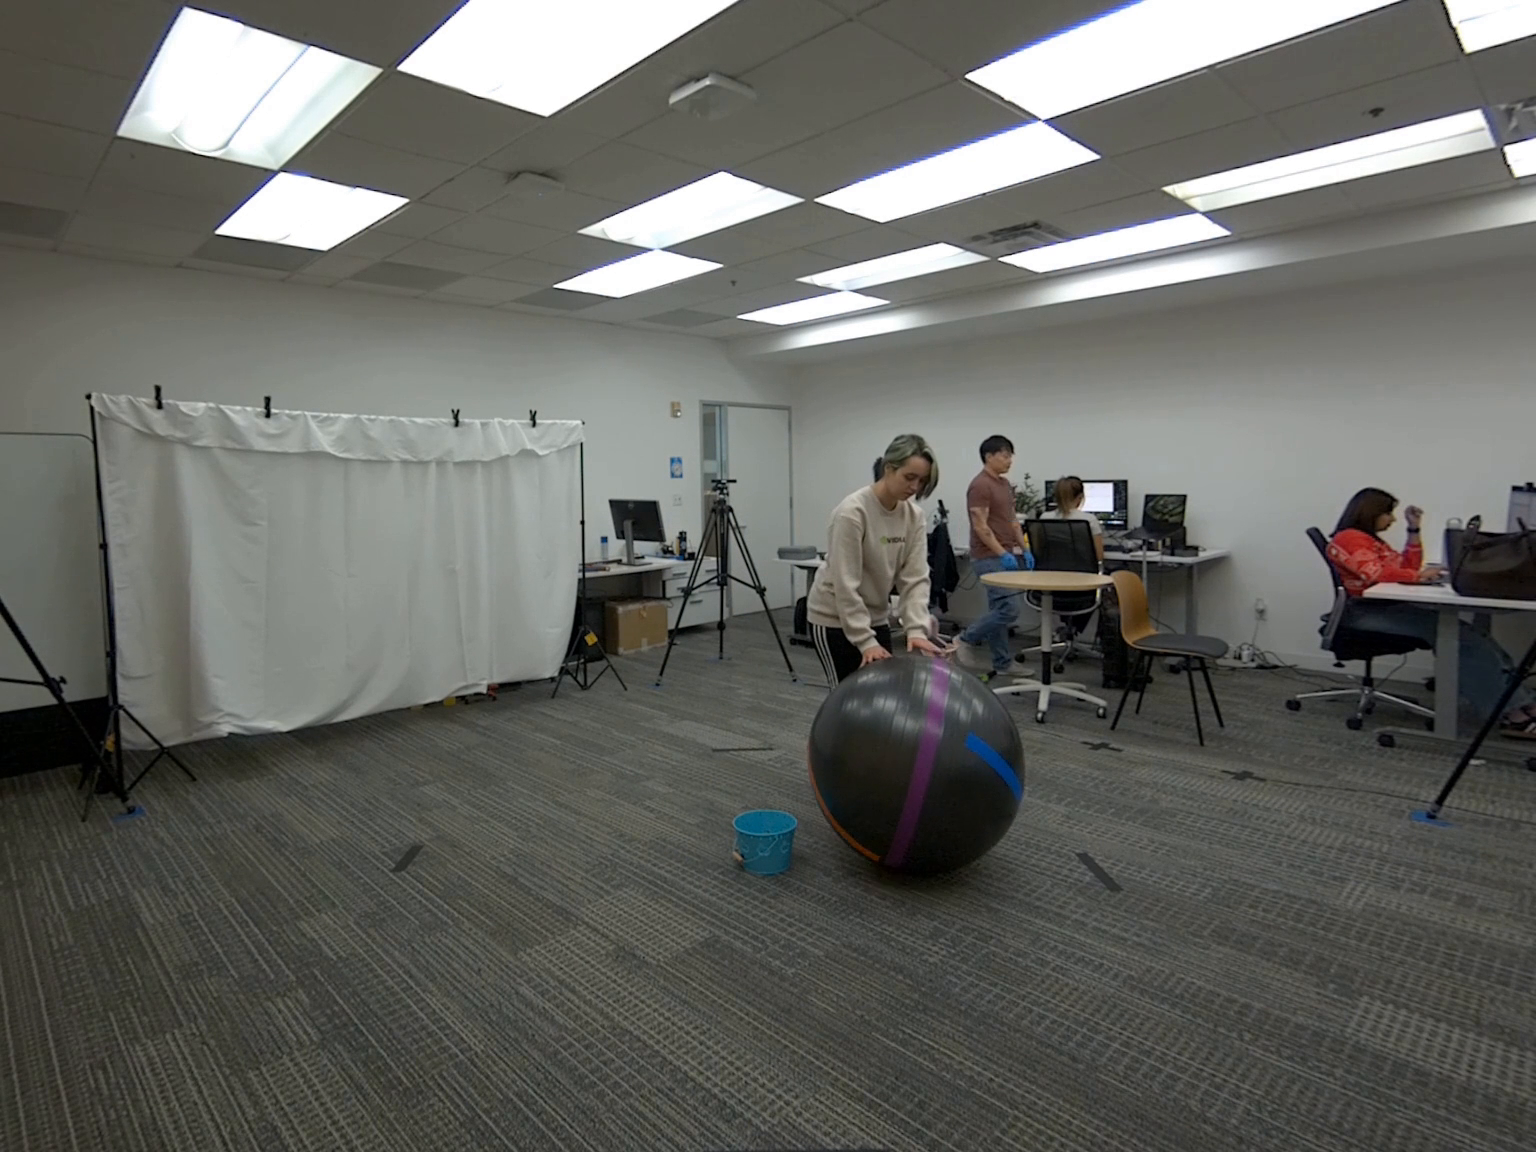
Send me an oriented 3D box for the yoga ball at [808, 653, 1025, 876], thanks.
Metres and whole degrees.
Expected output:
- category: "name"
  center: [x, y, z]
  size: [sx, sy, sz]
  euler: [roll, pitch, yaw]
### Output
- category: "yoga ball"
  center: [0.527, 0.675, 3.065]
  size: [0.757, 0.755, 0.762]
  euler: [-1, 5, -2]
